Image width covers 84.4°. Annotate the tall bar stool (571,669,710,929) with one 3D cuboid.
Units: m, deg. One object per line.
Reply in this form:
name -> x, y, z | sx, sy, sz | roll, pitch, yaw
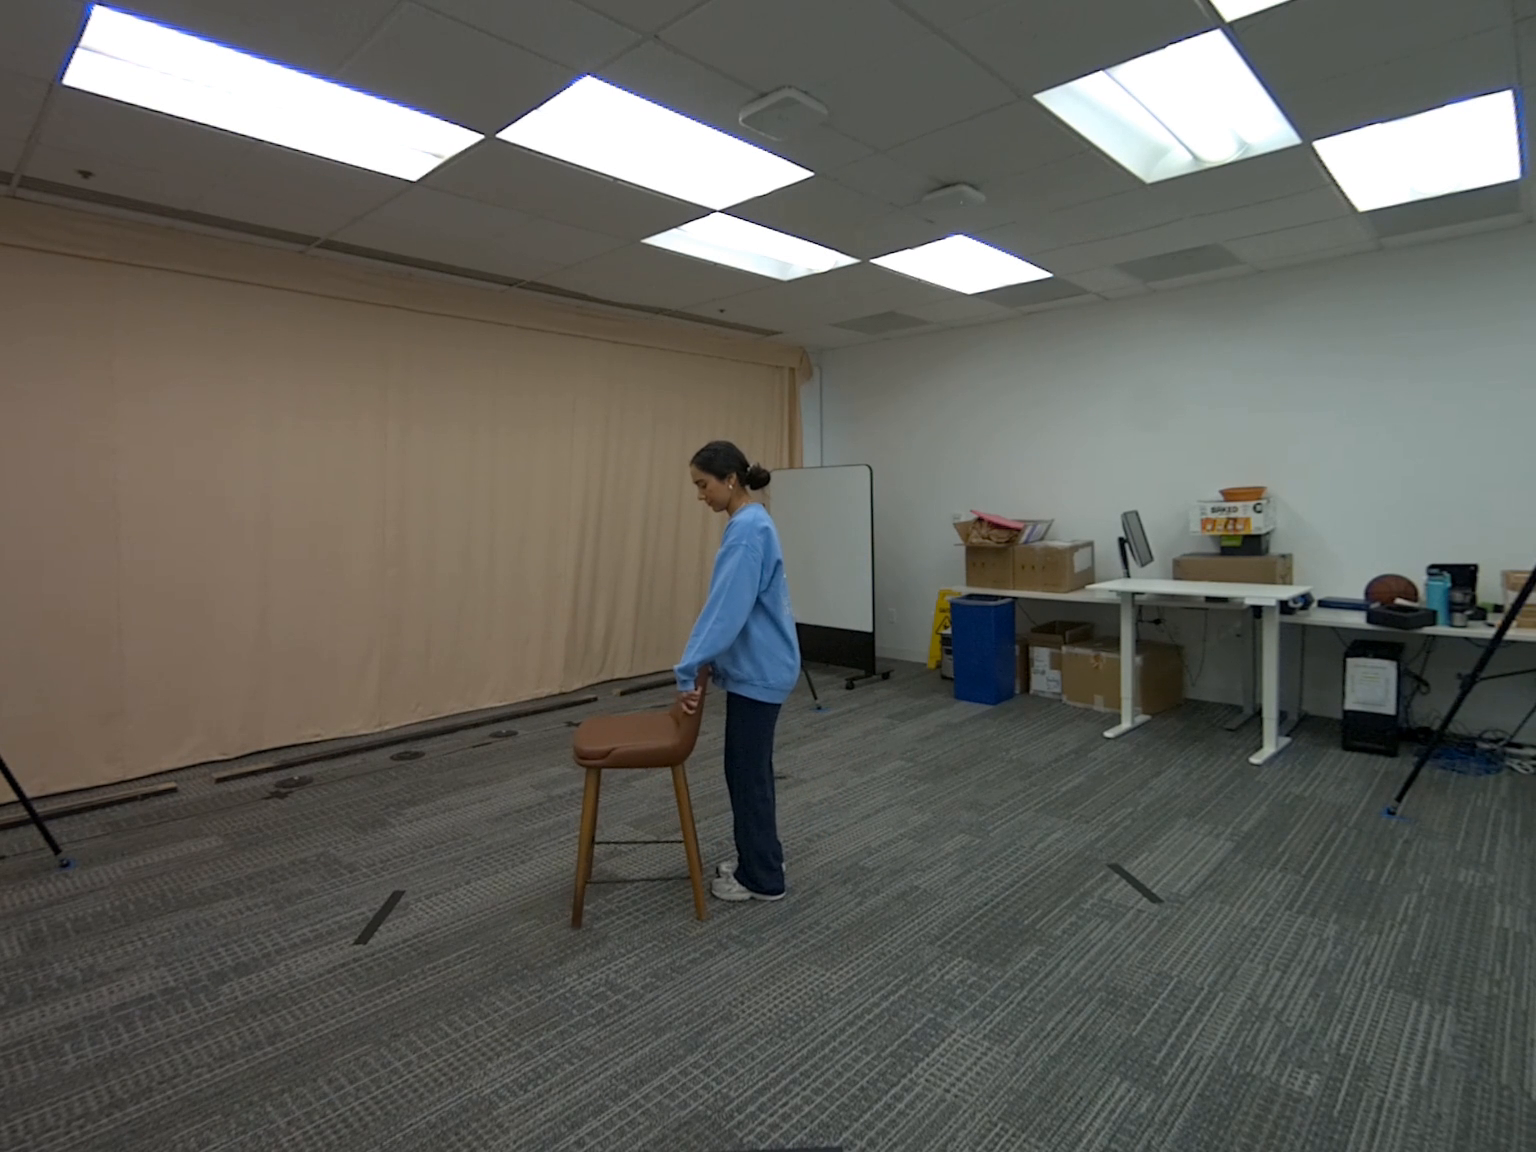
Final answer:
tall bar stool -> -0.447, 0.714, 2.979 | 0.465, 0.888, 0.460 | 1, 3, -6
